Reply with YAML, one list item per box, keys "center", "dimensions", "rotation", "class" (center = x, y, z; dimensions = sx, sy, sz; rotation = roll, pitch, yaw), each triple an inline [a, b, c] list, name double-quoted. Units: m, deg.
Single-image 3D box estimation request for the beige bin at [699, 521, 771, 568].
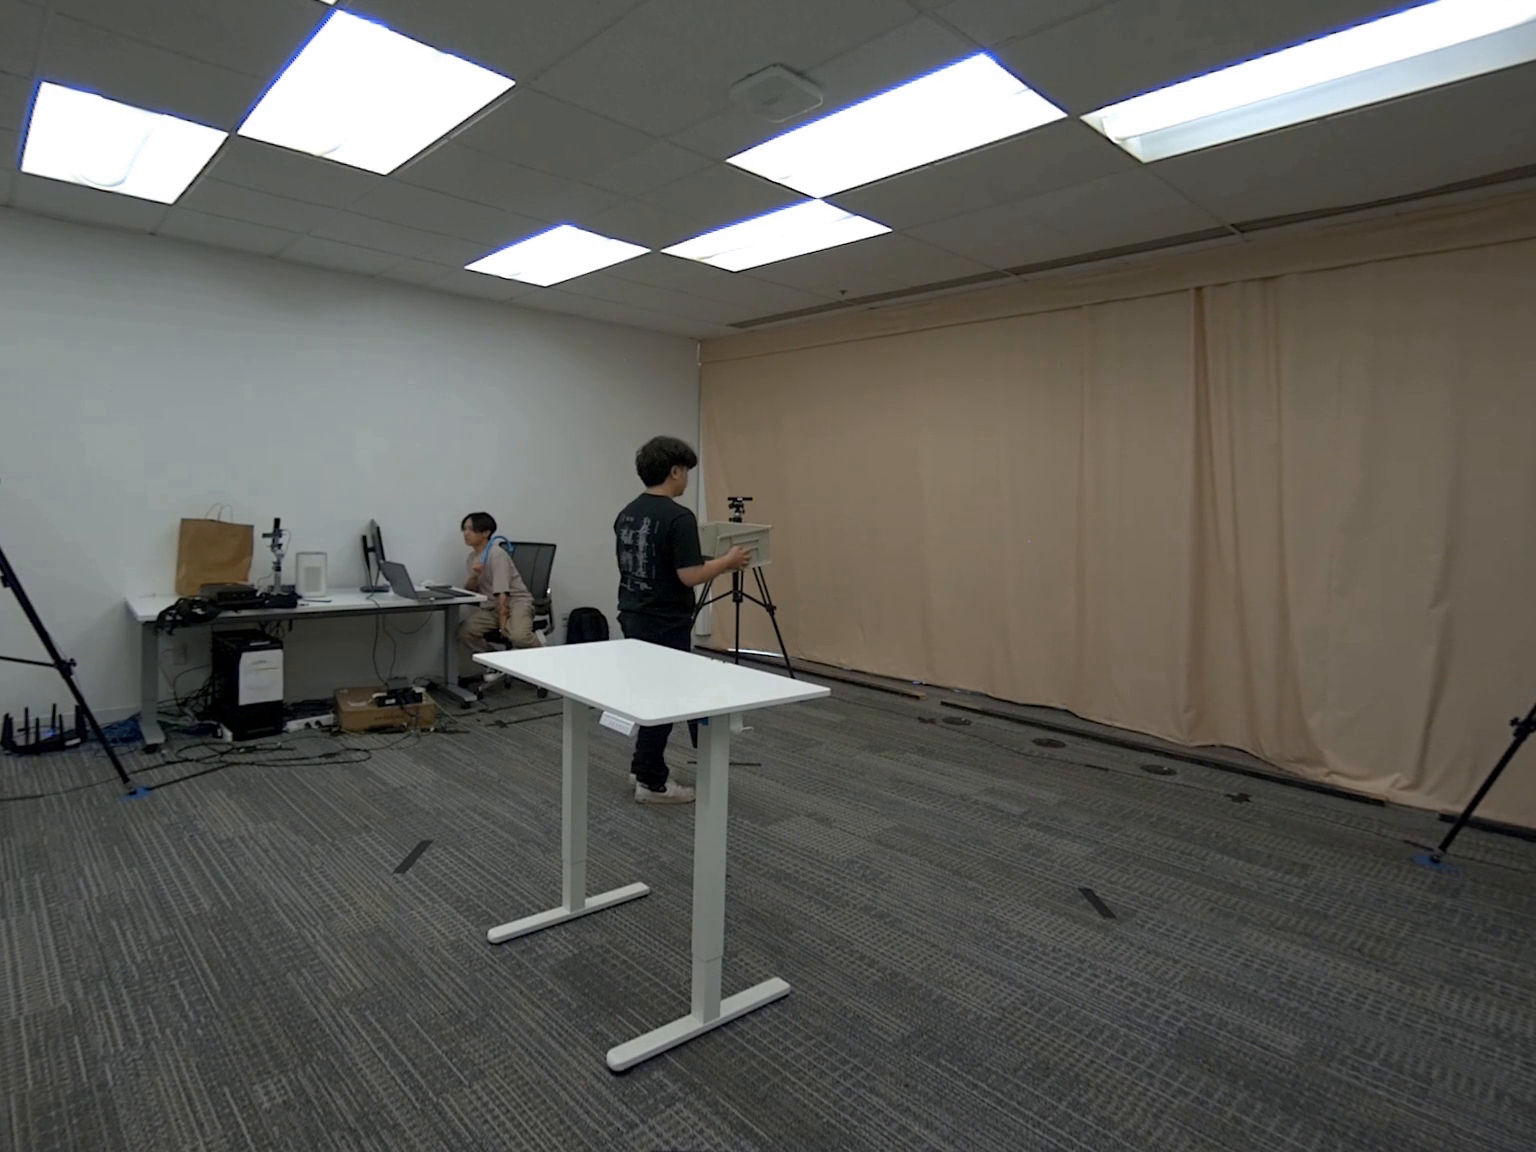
- center: [-0.257, -0.139, 4.038]
  dimensions: [0.370, 0.188, 0.433]
  rotation: [-10, 12, -40]
  class: "beige bin"
